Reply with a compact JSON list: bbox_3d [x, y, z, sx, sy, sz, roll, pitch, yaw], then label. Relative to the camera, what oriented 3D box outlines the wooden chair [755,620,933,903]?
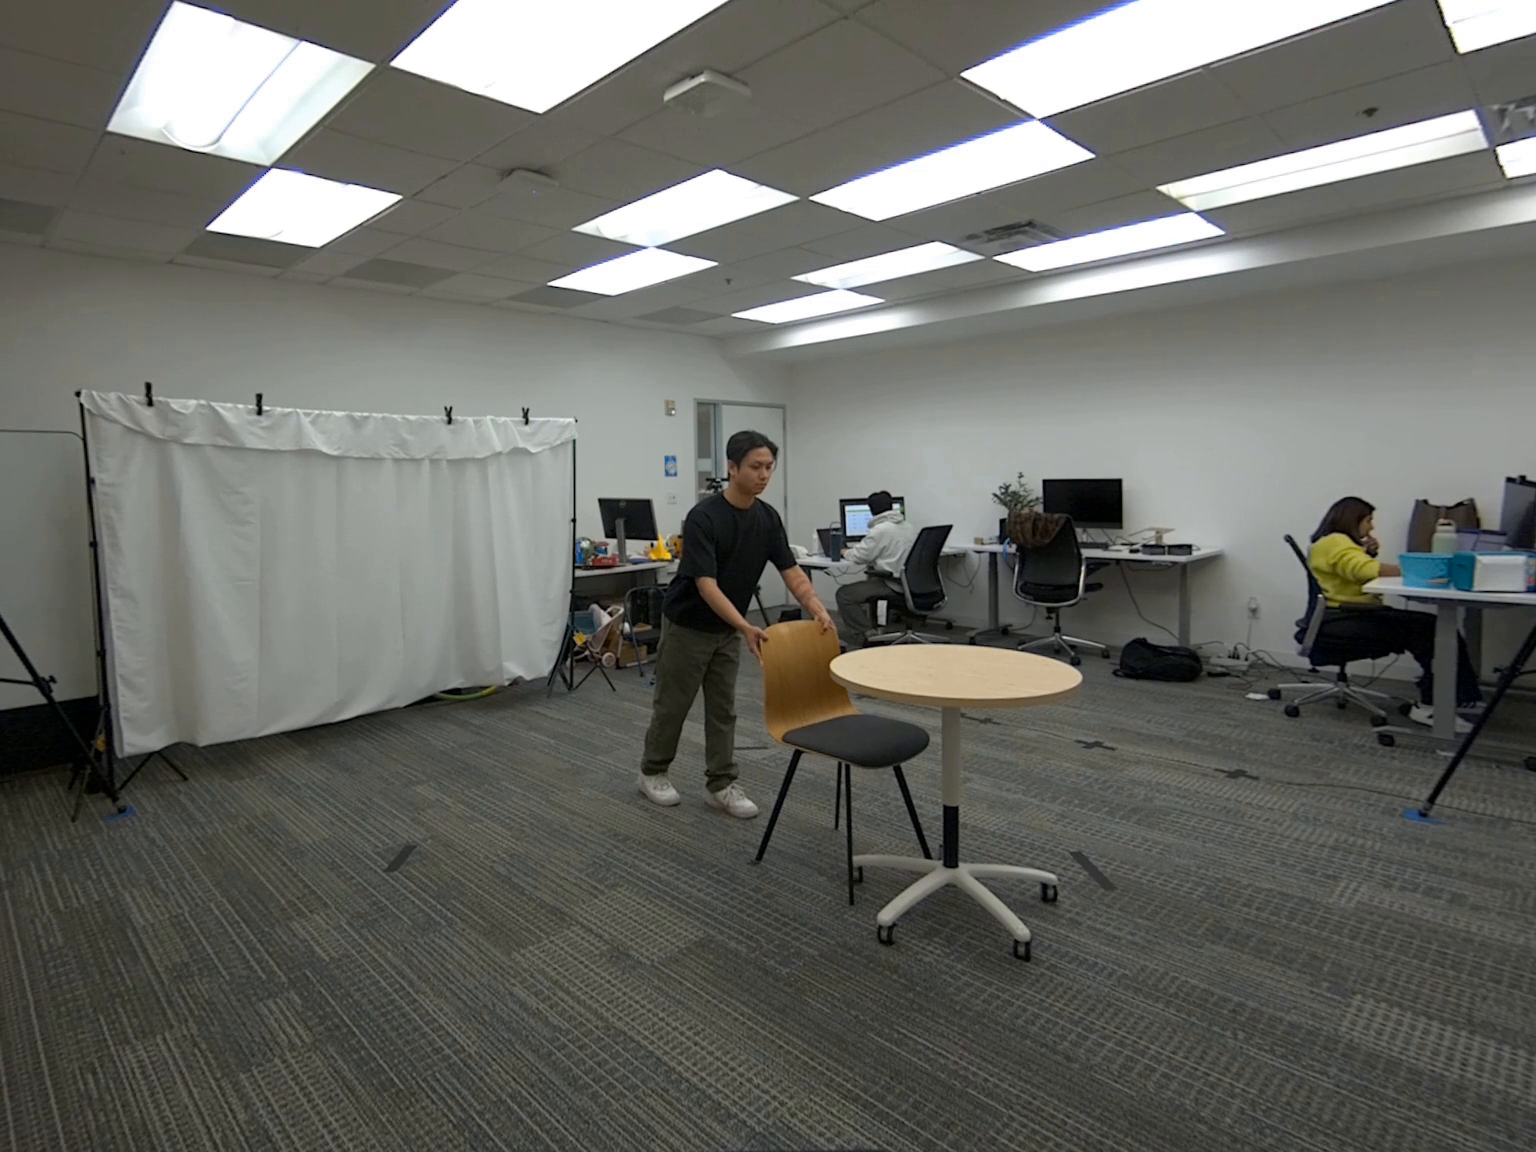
[{"bbox_3d":[0.272,0.617,3.061,0.465,0.877,0.538,-5,2,-42],"label":"wooden chair"}]
